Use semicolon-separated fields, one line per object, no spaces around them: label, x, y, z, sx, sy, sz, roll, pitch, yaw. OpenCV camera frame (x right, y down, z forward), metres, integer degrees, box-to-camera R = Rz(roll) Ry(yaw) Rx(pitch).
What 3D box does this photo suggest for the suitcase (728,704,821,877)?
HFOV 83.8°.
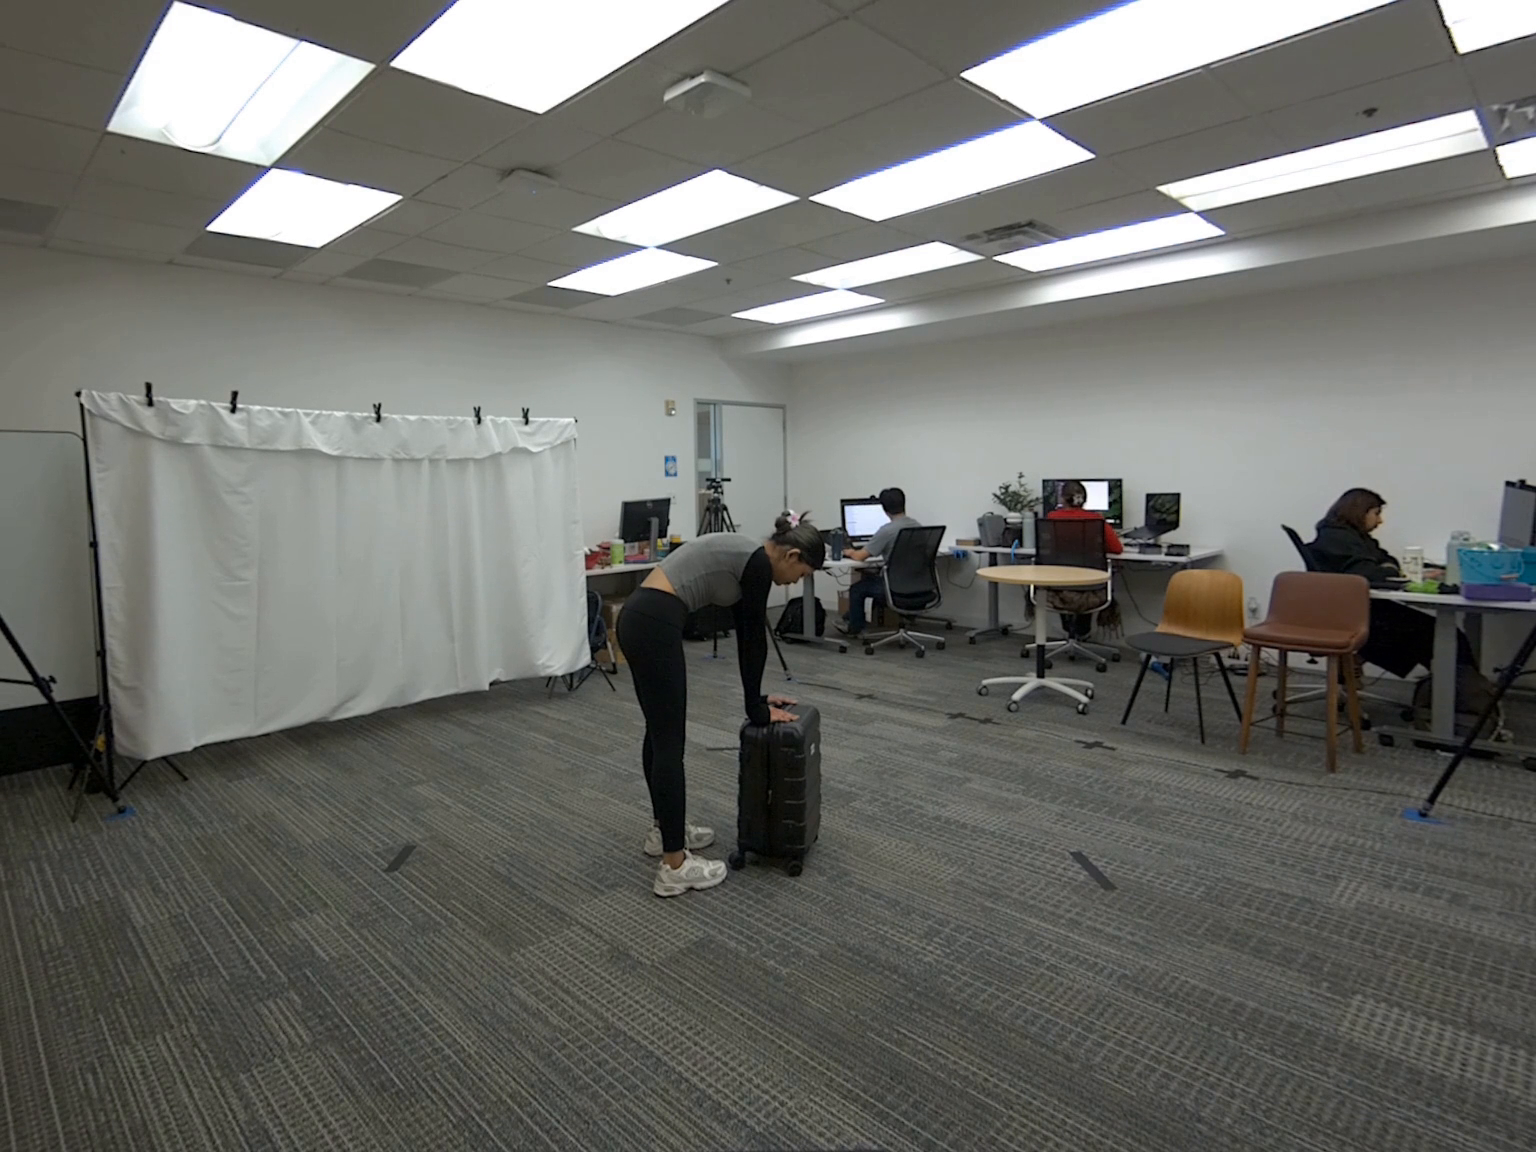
suitcase;0.043;0.759;3.168;0.253;0.547;0.370;2;5;17
